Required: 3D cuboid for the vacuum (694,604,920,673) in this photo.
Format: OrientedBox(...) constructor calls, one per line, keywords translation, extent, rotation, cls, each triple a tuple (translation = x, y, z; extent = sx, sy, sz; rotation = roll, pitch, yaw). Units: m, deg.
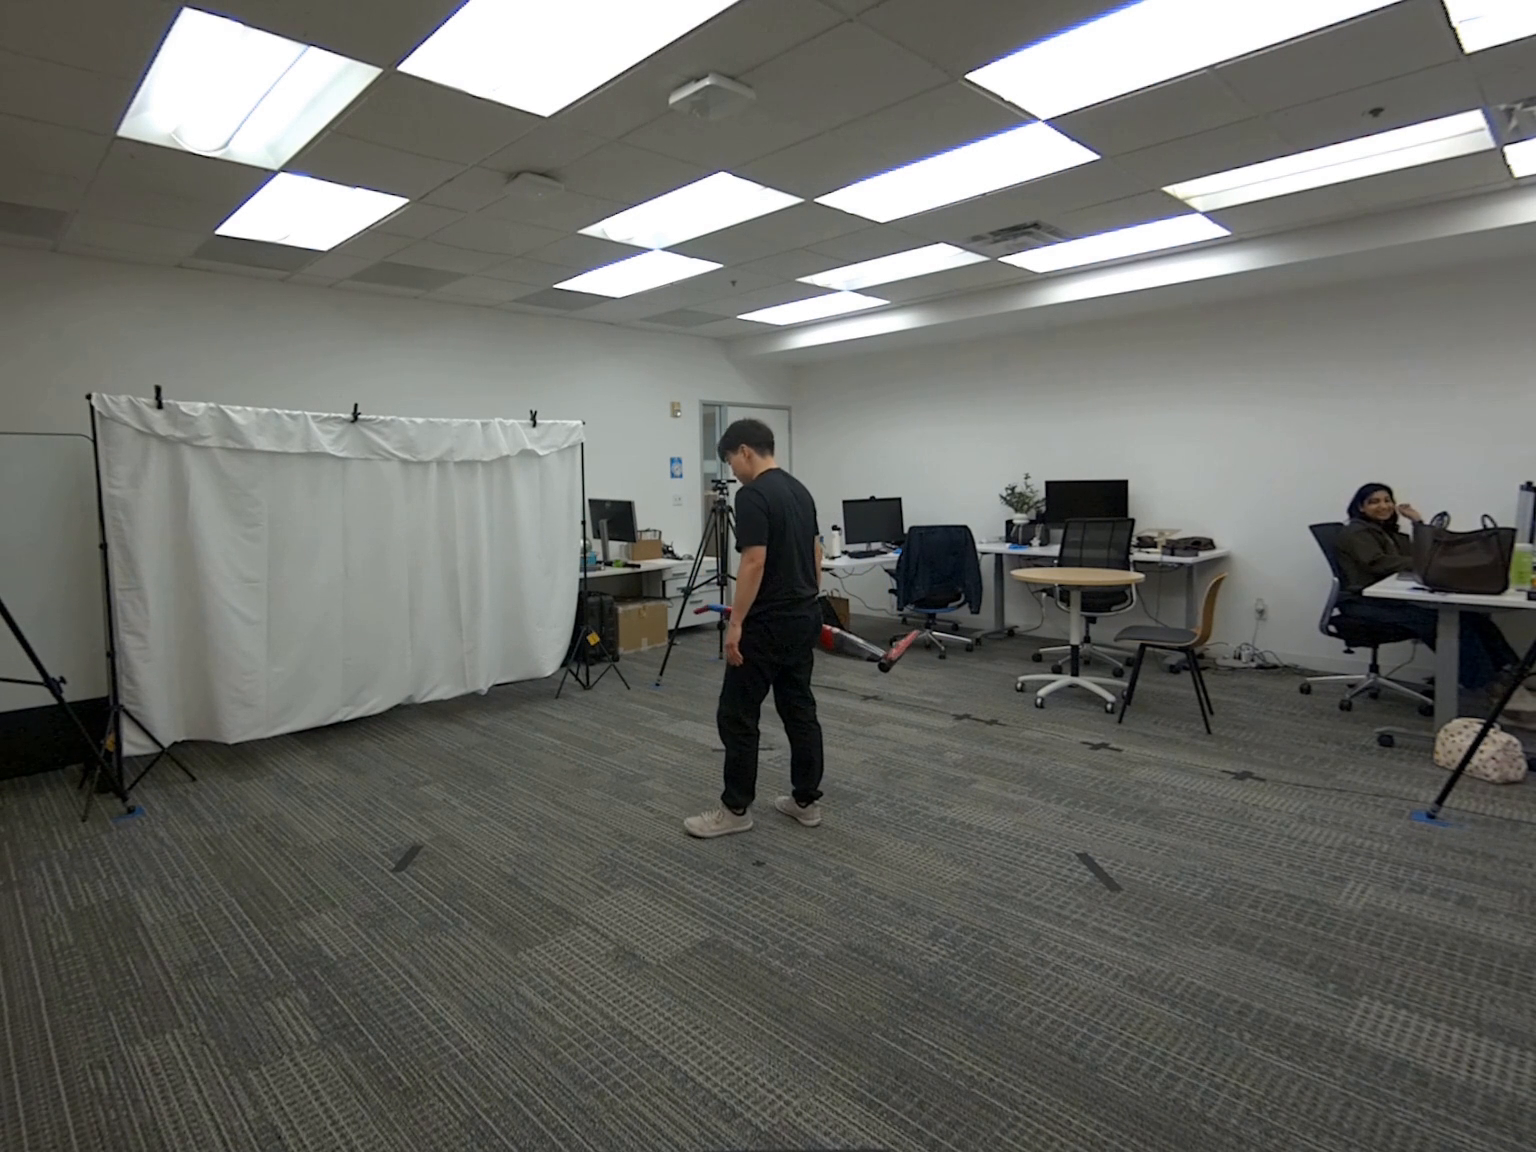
OrientedBox(translation=(0.097, 0.246, 3.779), extent=(1.083, 0.141, 0.250), rotation=(9, 28, 36), cls="vacuum")
